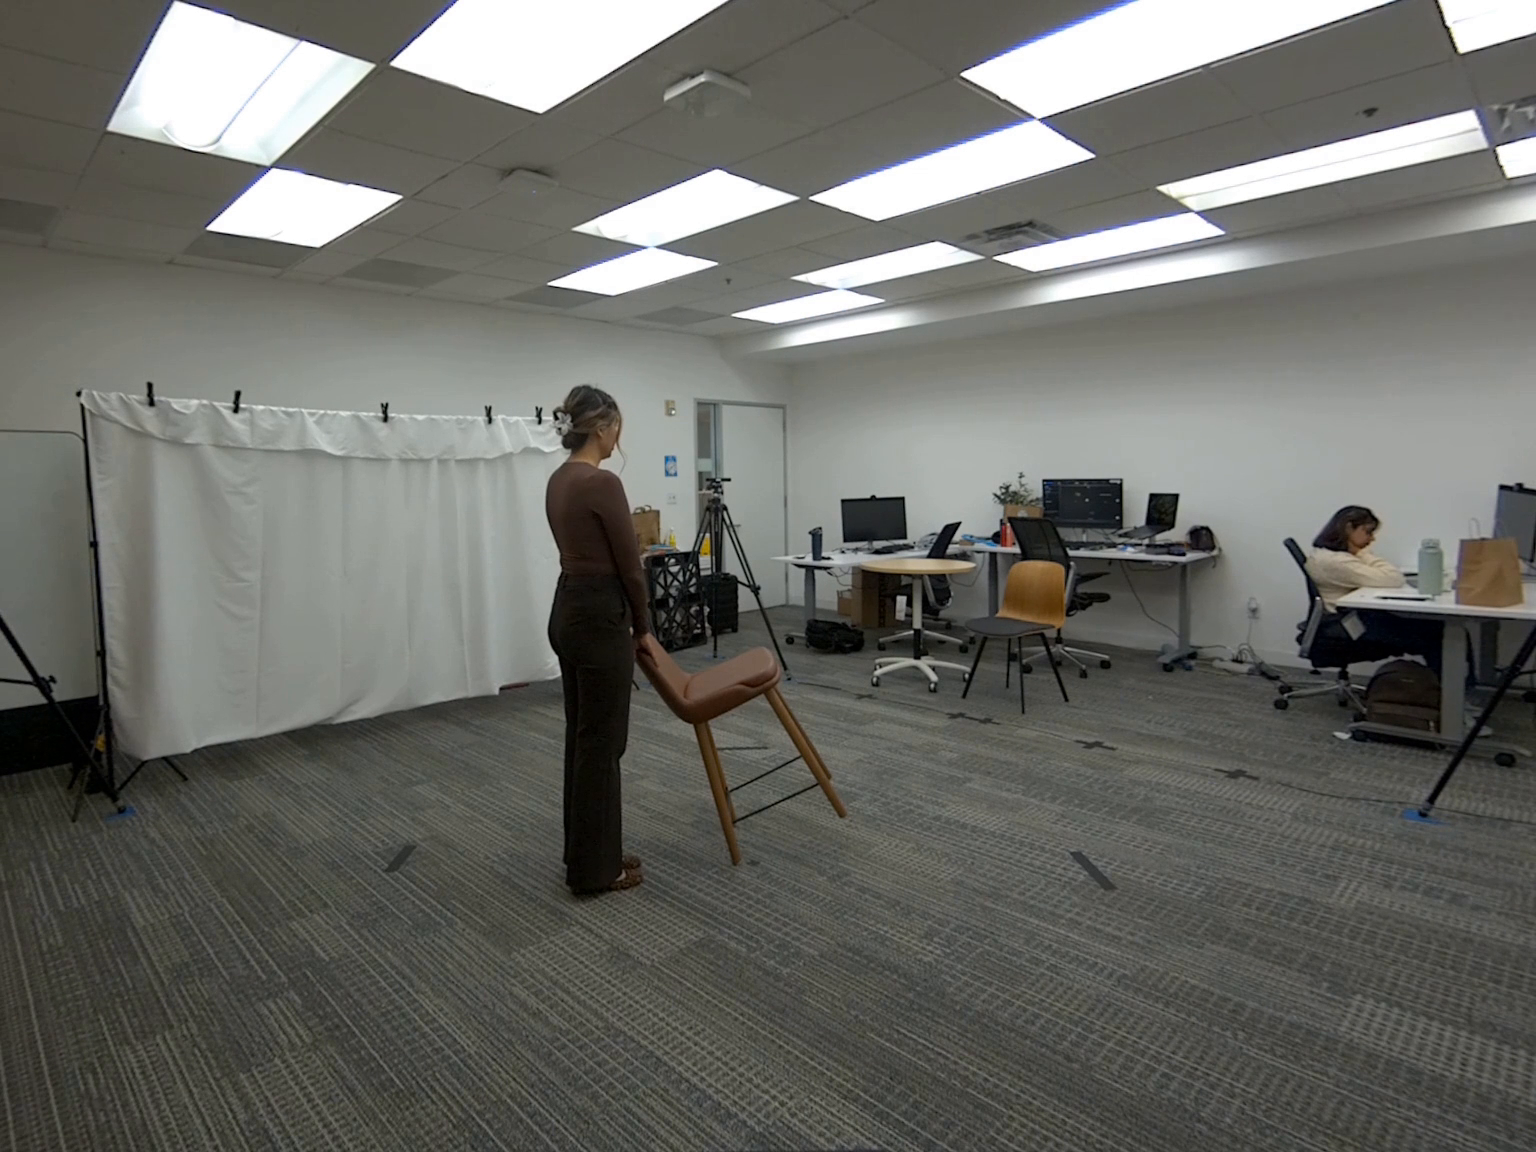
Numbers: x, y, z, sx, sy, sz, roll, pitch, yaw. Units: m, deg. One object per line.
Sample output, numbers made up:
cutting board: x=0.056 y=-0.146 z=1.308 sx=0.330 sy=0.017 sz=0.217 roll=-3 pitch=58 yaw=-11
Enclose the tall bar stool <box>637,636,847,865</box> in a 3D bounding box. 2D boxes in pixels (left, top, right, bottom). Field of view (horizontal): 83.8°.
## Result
tall bar stool: x=-0.122 y=0.544 z=3.247 sx=0.468 sy=0.885 sz=0.459 roll=-26 pitch=4 yaw=0
